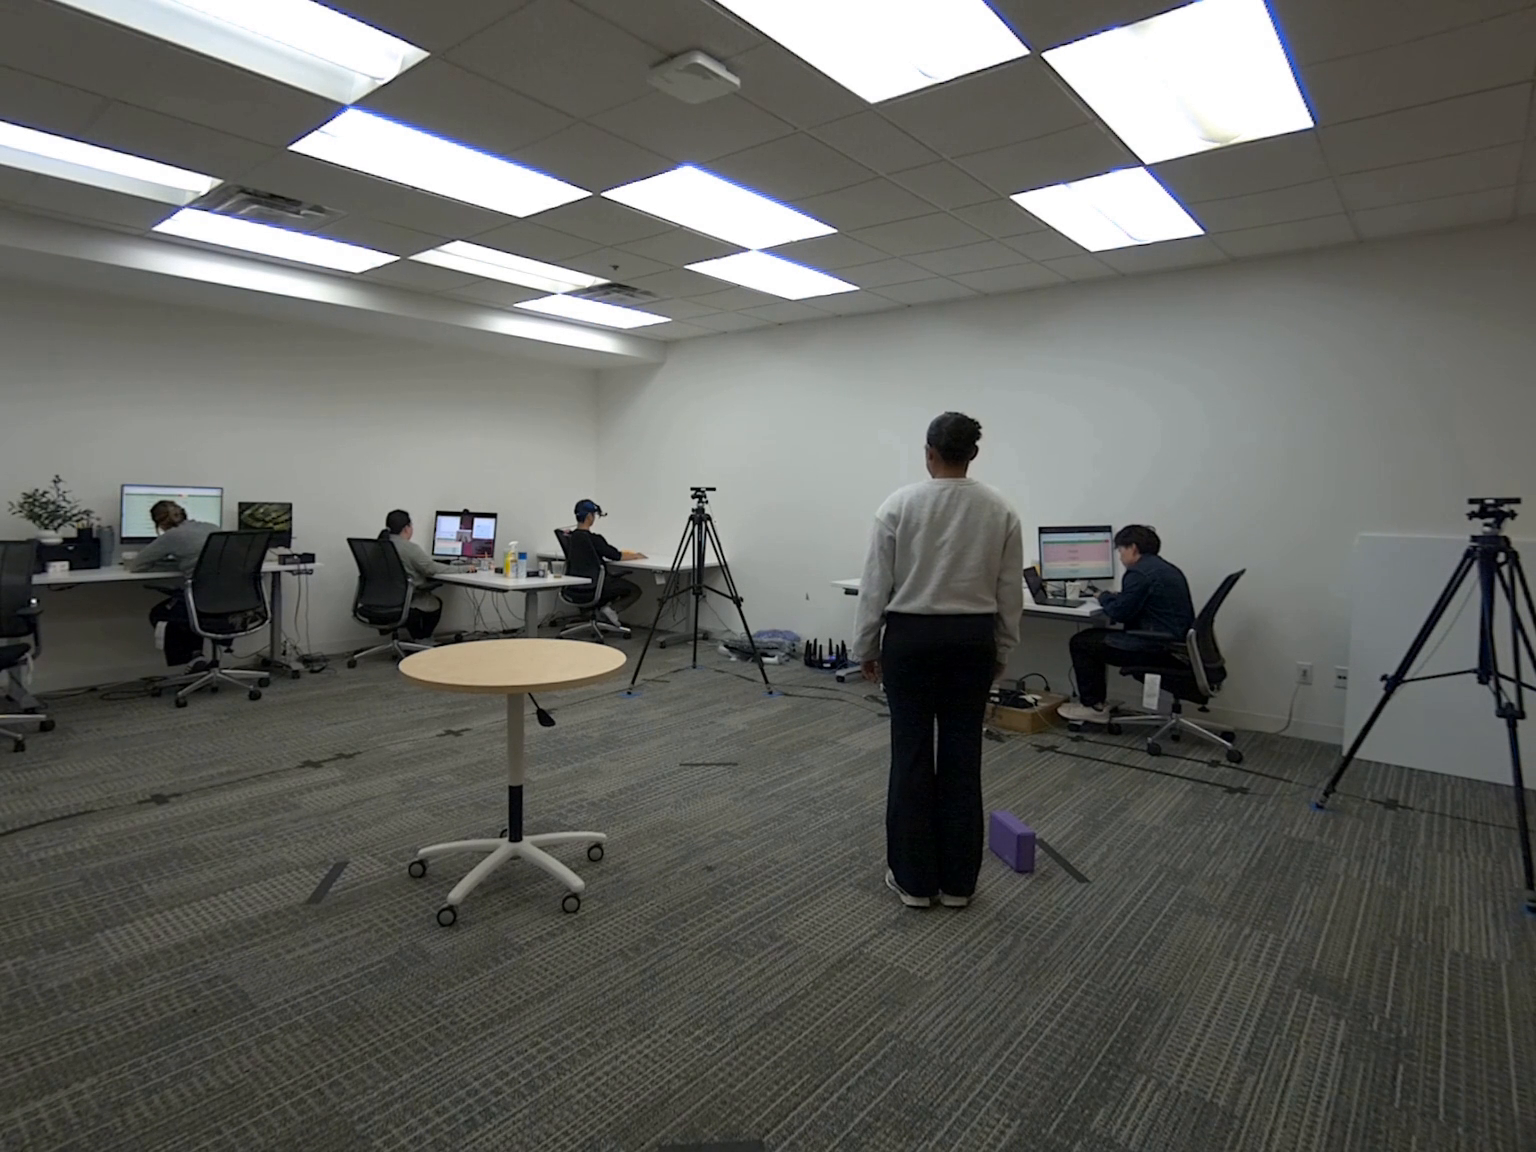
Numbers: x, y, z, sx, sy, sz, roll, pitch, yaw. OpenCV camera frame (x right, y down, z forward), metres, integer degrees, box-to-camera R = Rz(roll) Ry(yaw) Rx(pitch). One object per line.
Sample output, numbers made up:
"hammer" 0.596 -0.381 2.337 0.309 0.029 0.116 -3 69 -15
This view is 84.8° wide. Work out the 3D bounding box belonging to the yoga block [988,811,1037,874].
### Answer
"yoga block" 0.927 1.009 3.247 0.075 0.148 0.233 0 4 -13
